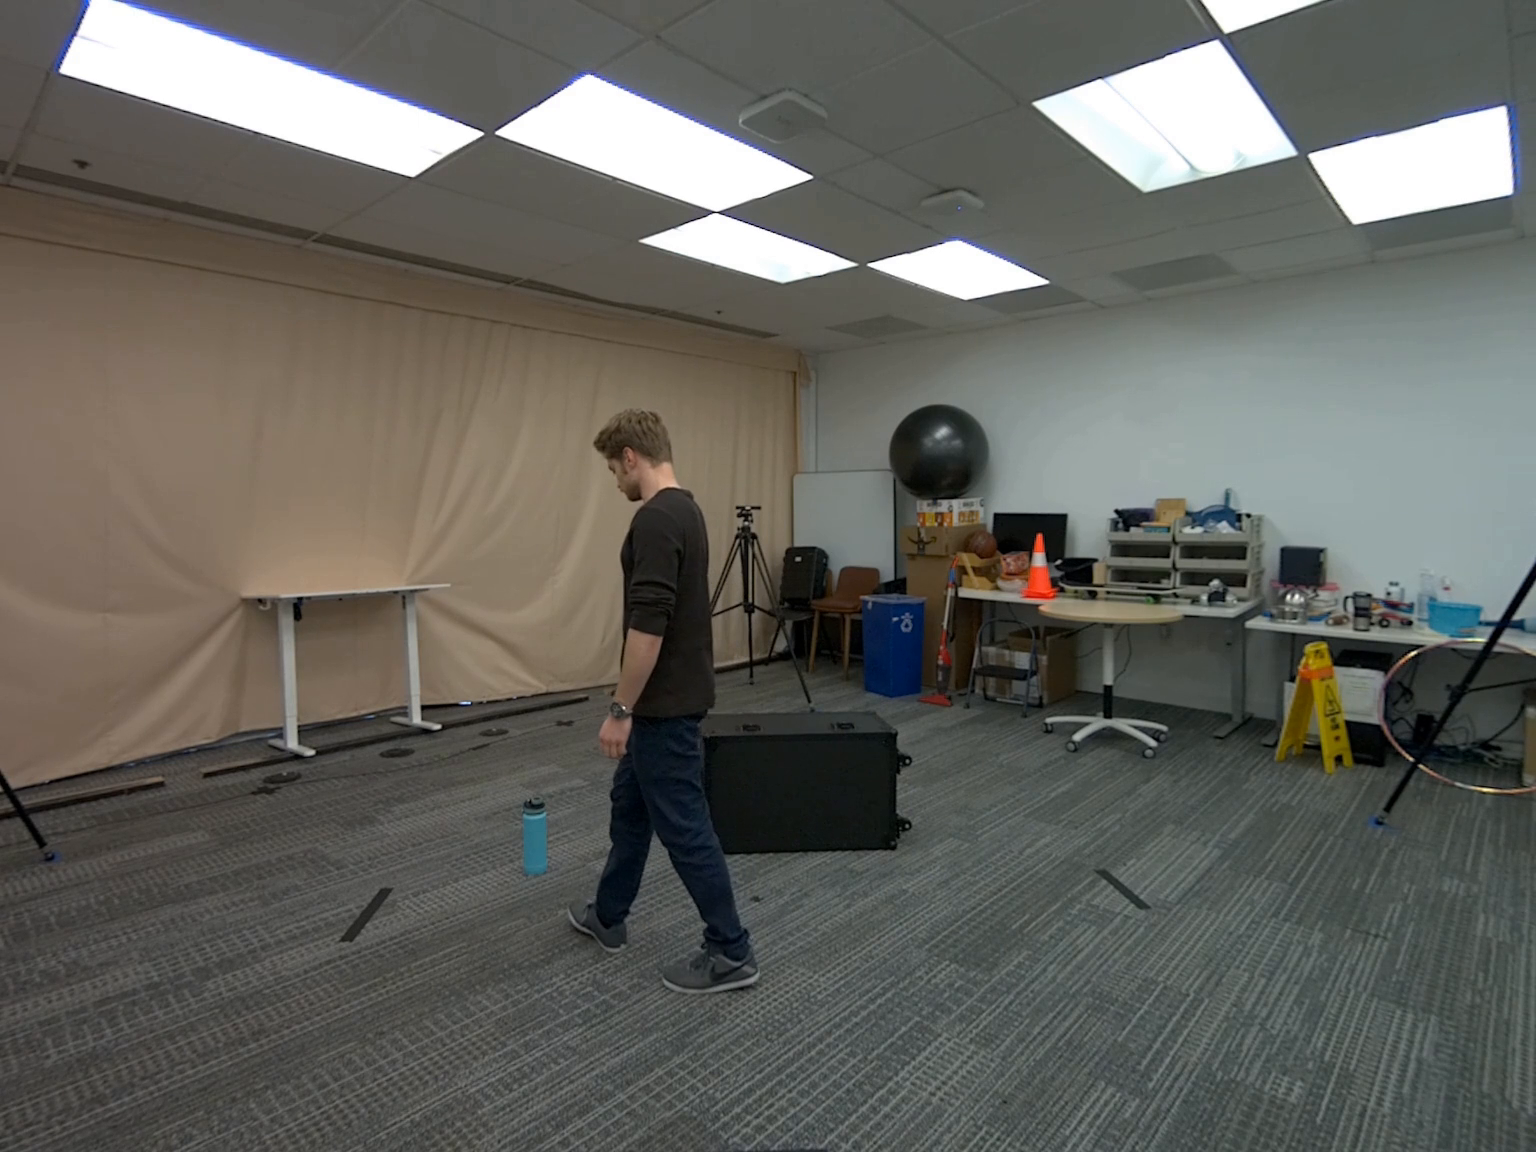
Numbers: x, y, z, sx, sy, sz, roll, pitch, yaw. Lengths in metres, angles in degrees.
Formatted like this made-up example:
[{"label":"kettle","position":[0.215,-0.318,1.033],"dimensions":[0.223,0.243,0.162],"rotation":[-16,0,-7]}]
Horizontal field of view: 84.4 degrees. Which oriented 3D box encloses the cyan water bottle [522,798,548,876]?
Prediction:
[{"label":"cyan water bottle","position":[-0.899,0.994,3.233],"dimensions":[0.092,0.283,0.092],"rotation":[-2,1,-2]}]
